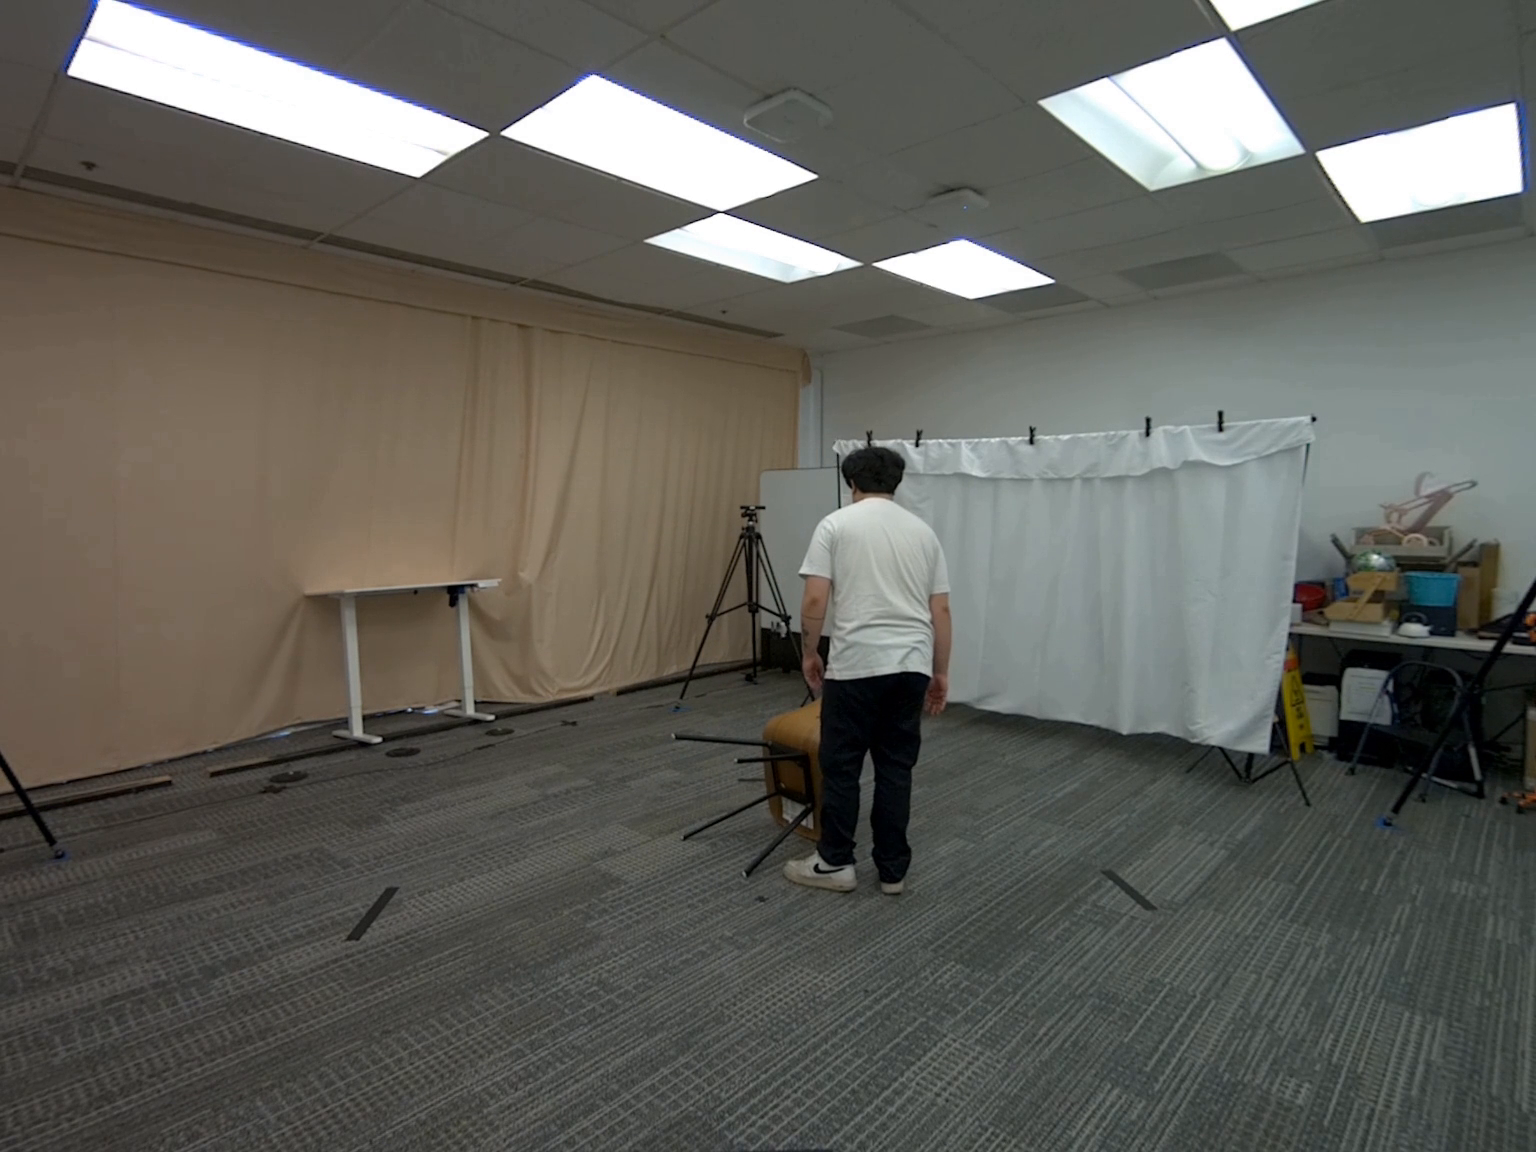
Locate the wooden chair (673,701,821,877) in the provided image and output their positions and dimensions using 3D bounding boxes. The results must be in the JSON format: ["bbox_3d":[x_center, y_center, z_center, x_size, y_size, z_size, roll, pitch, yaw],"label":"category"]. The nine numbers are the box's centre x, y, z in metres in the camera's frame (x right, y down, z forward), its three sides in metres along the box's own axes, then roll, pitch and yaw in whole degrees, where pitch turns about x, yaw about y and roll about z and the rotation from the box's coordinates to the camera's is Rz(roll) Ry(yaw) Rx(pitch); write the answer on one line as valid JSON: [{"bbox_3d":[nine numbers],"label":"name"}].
[{"bbox_3d":[0.093,0.843,3.556,0.855,0.520,0.493,-14,11,-36],"label":"wooden chair"}]
